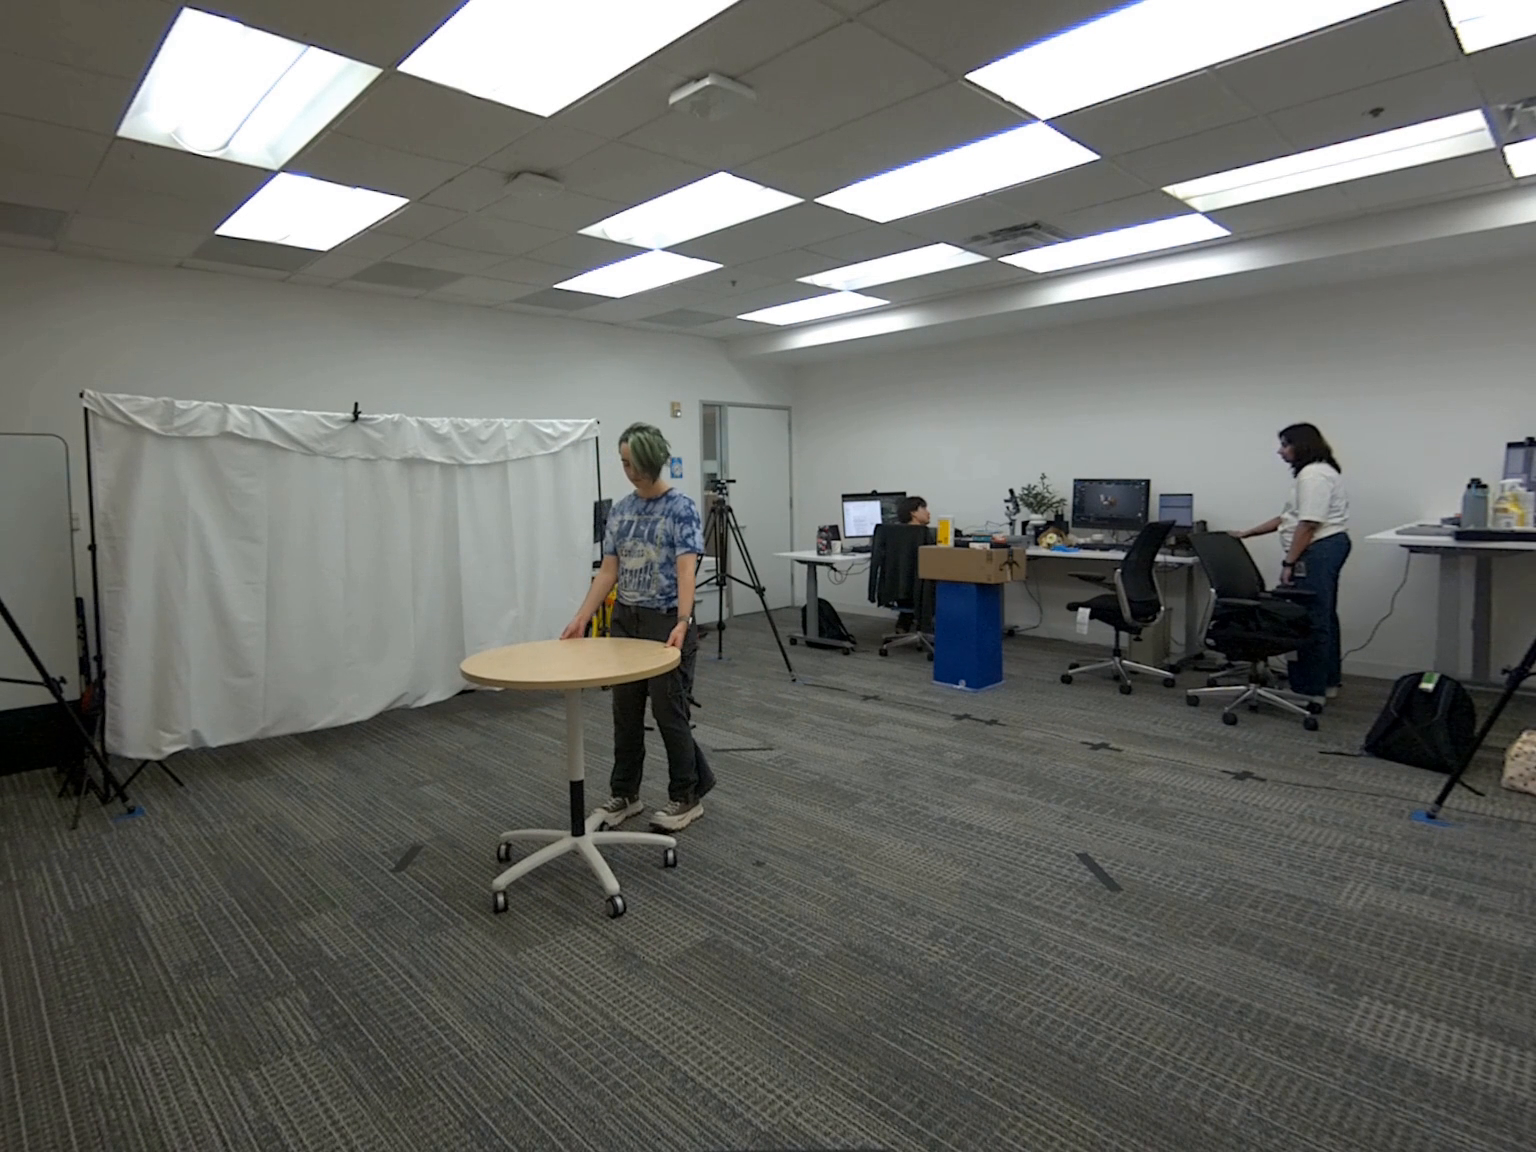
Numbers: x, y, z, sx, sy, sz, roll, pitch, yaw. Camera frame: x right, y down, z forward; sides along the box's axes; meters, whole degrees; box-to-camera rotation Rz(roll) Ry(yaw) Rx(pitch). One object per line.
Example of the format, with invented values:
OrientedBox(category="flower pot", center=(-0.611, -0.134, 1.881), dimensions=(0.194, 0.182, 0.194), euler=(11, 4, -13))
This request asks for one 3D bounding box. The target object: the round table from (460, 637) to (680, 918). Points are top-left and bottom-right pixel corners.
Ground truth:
OrientedBox(category="round table", center=(-0.681, 0.682, 3.030), dimensions=(0.763, 0.791, 0.767), euler=(-2, 4, -2))
